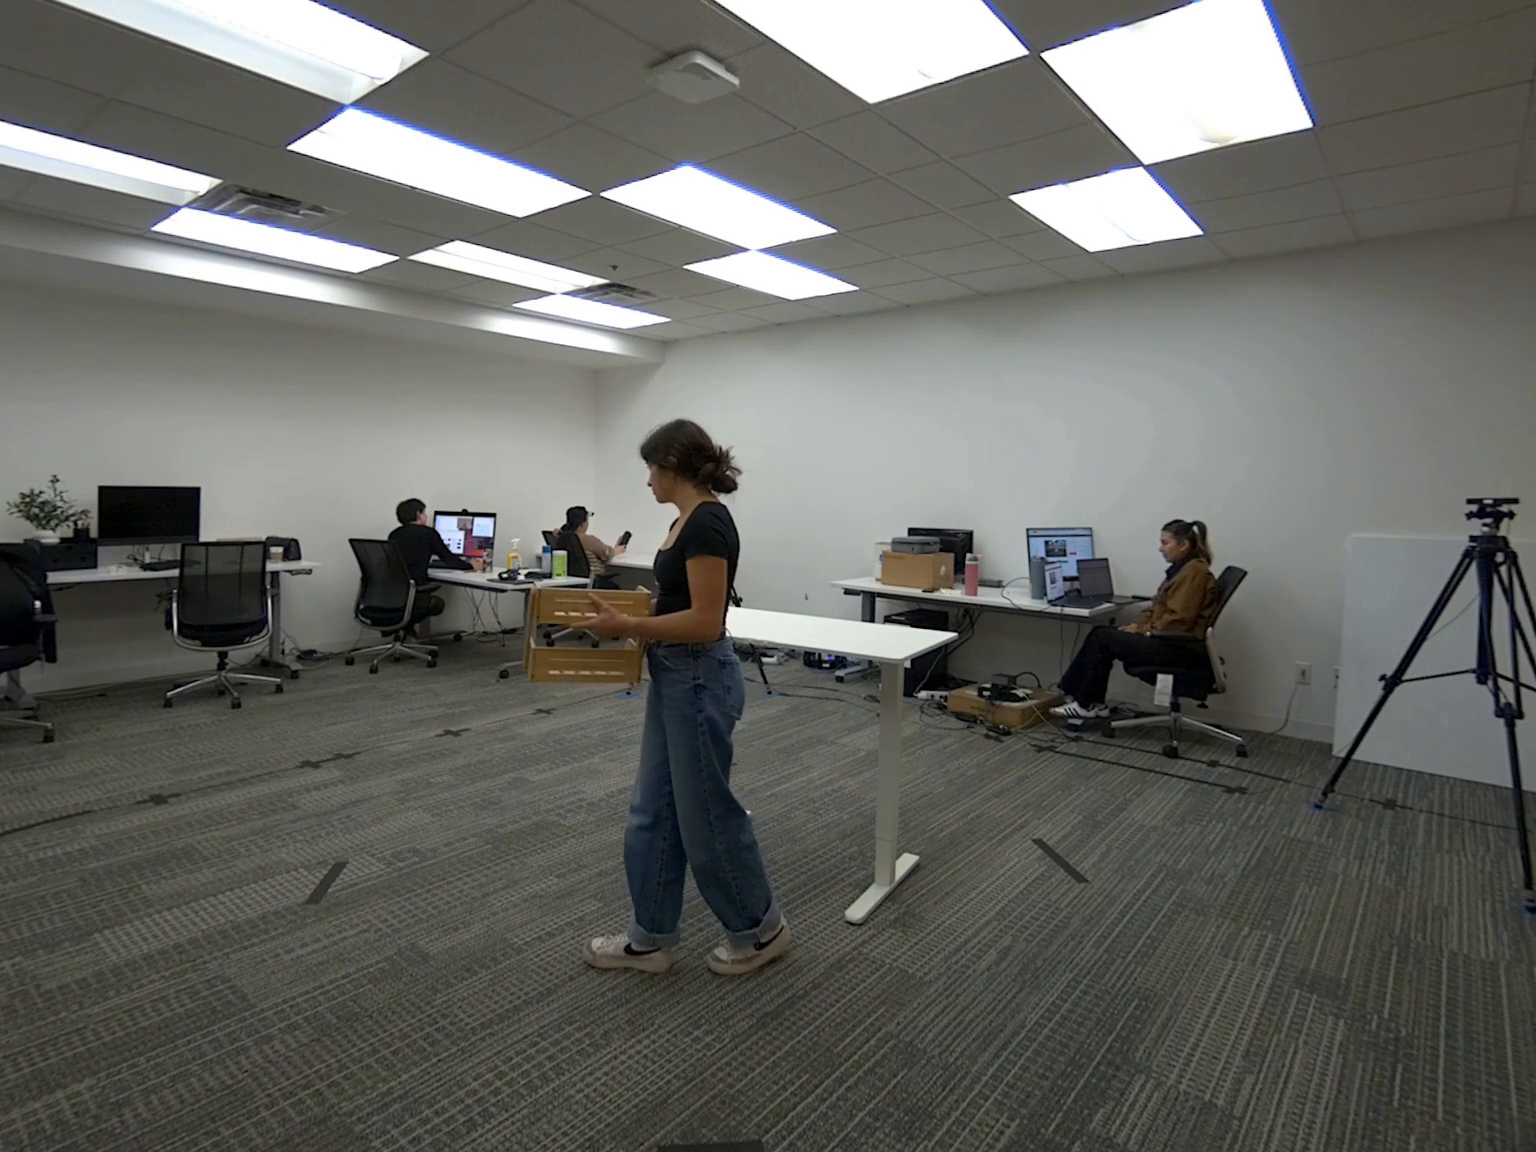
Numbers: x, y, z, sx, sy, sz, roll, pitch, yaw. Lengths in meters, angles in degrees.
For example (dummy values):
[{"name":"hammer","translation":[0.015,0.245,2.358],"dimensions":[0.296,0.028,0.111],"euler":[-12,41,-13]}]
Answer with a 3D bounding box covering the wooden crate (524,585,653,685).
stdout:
[{"name":"wooden crate","translation":[-0.523,0.141,2.416],"dimensions":[0.318,0.272,0.309],"euler":[3,5,-18]}]
